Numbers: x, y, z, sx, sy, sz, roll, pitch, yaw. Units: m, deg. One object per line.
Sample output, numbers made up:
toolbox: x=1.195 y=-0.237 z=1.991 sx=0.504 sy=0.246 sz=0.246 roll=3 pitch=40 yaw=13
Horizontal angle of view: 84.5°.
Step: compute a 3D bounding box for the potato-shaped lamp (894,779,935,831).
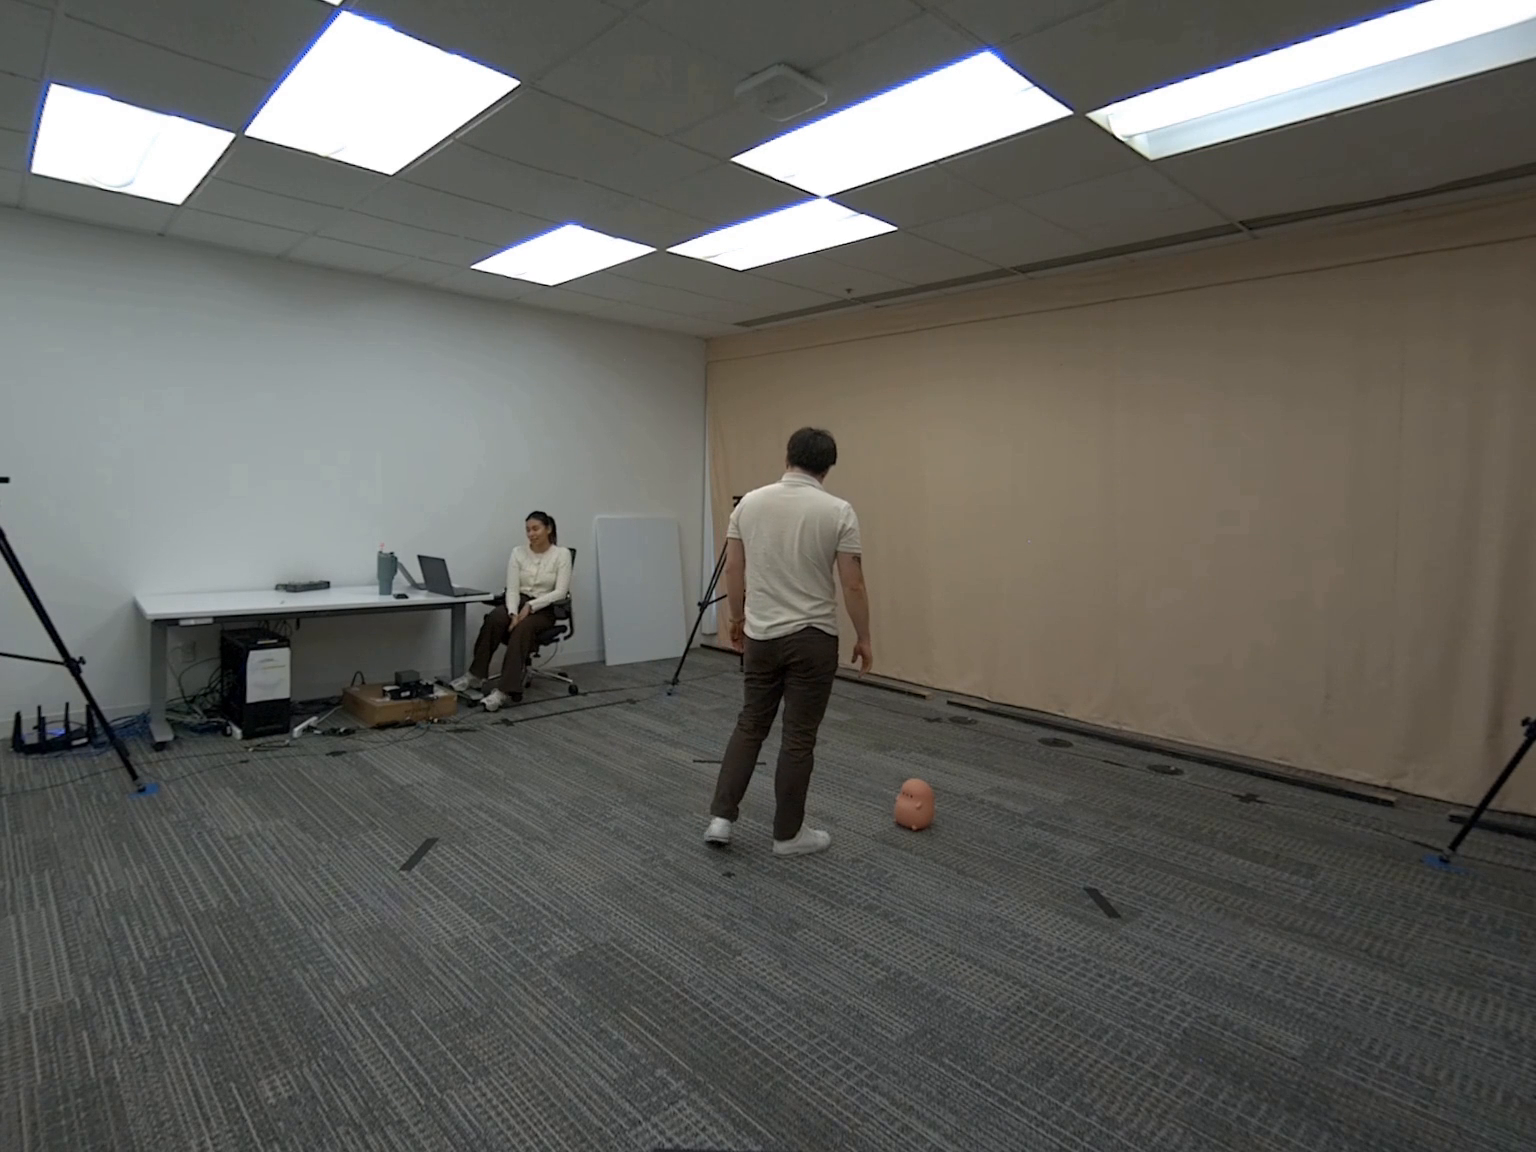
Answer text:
potato-shaped lamp: x=0.621 y=0.975 z=3.634 sx=0.167 sy=0.198 sz=0.168 roll=0 pitch=0 yaw=-39
